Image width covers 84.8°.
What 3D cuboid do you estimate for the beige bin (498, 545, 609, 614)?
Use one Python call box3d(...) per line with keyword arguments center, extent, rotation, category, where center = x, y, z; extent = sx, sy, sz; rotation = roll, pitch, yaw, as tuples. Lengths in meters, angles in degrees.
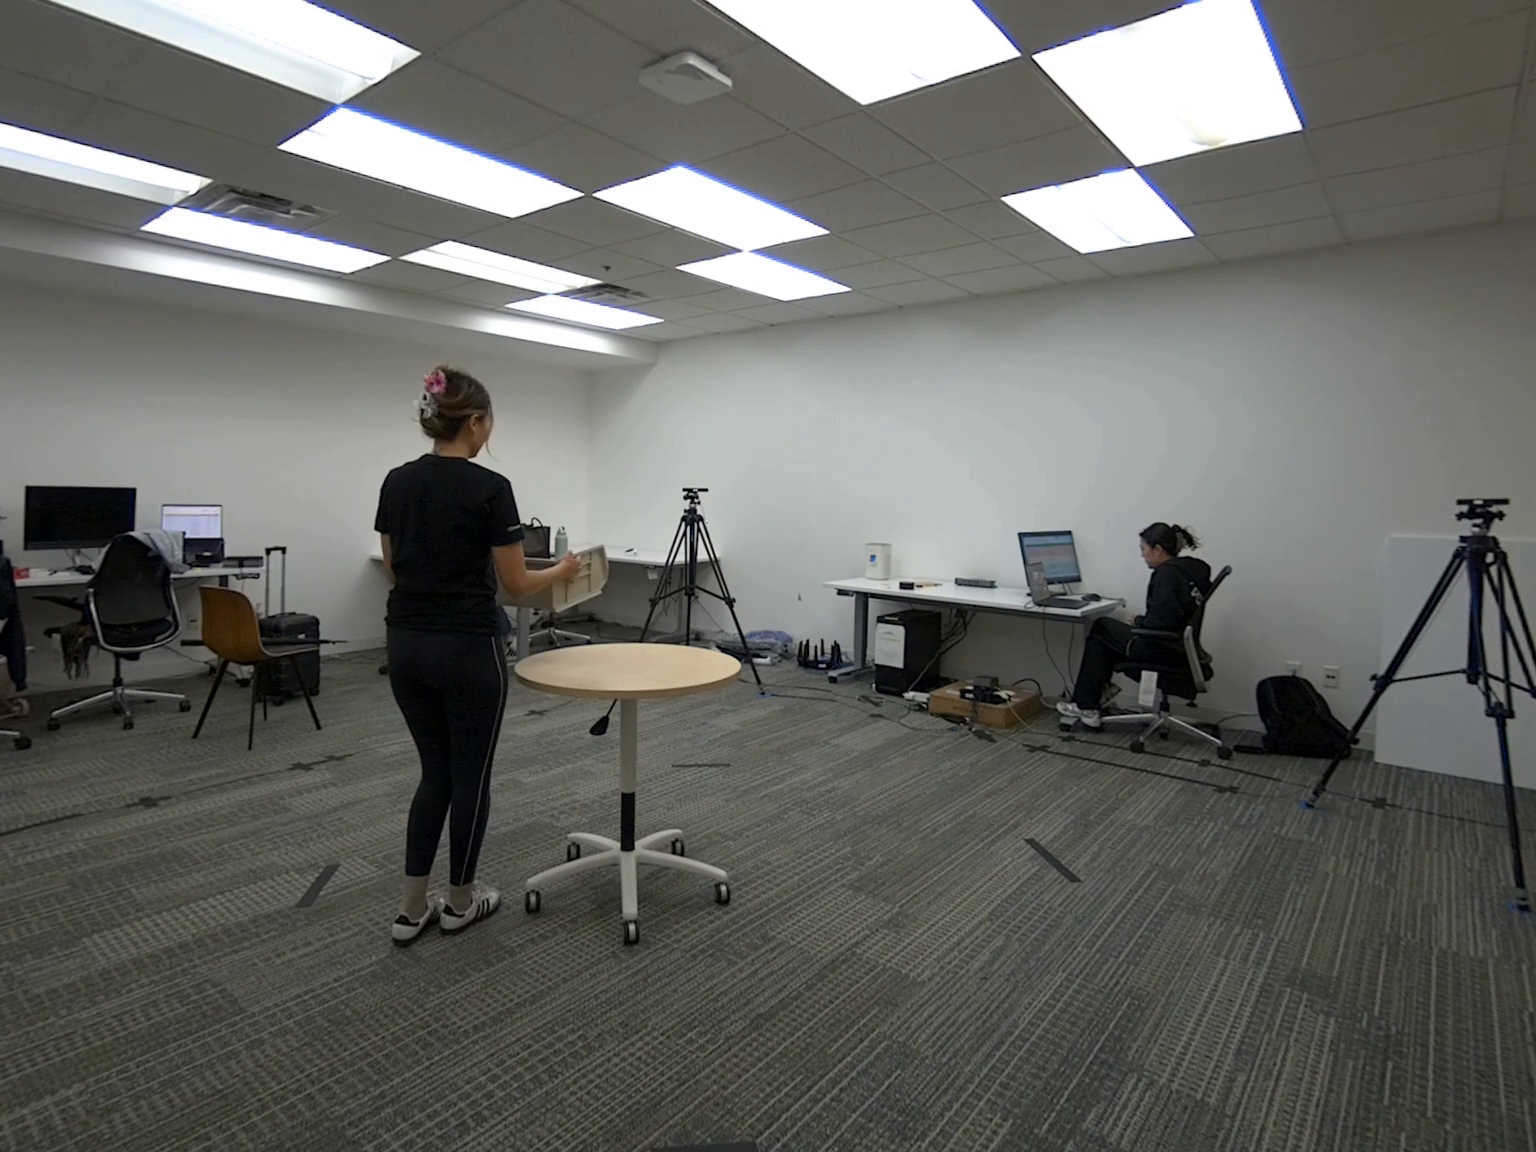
box3d(center=(-0.853, -0.011, 3.028), extent=(0.431, 0.187, 0.374), rotation=(4, 13, 19), category="beige bin")
